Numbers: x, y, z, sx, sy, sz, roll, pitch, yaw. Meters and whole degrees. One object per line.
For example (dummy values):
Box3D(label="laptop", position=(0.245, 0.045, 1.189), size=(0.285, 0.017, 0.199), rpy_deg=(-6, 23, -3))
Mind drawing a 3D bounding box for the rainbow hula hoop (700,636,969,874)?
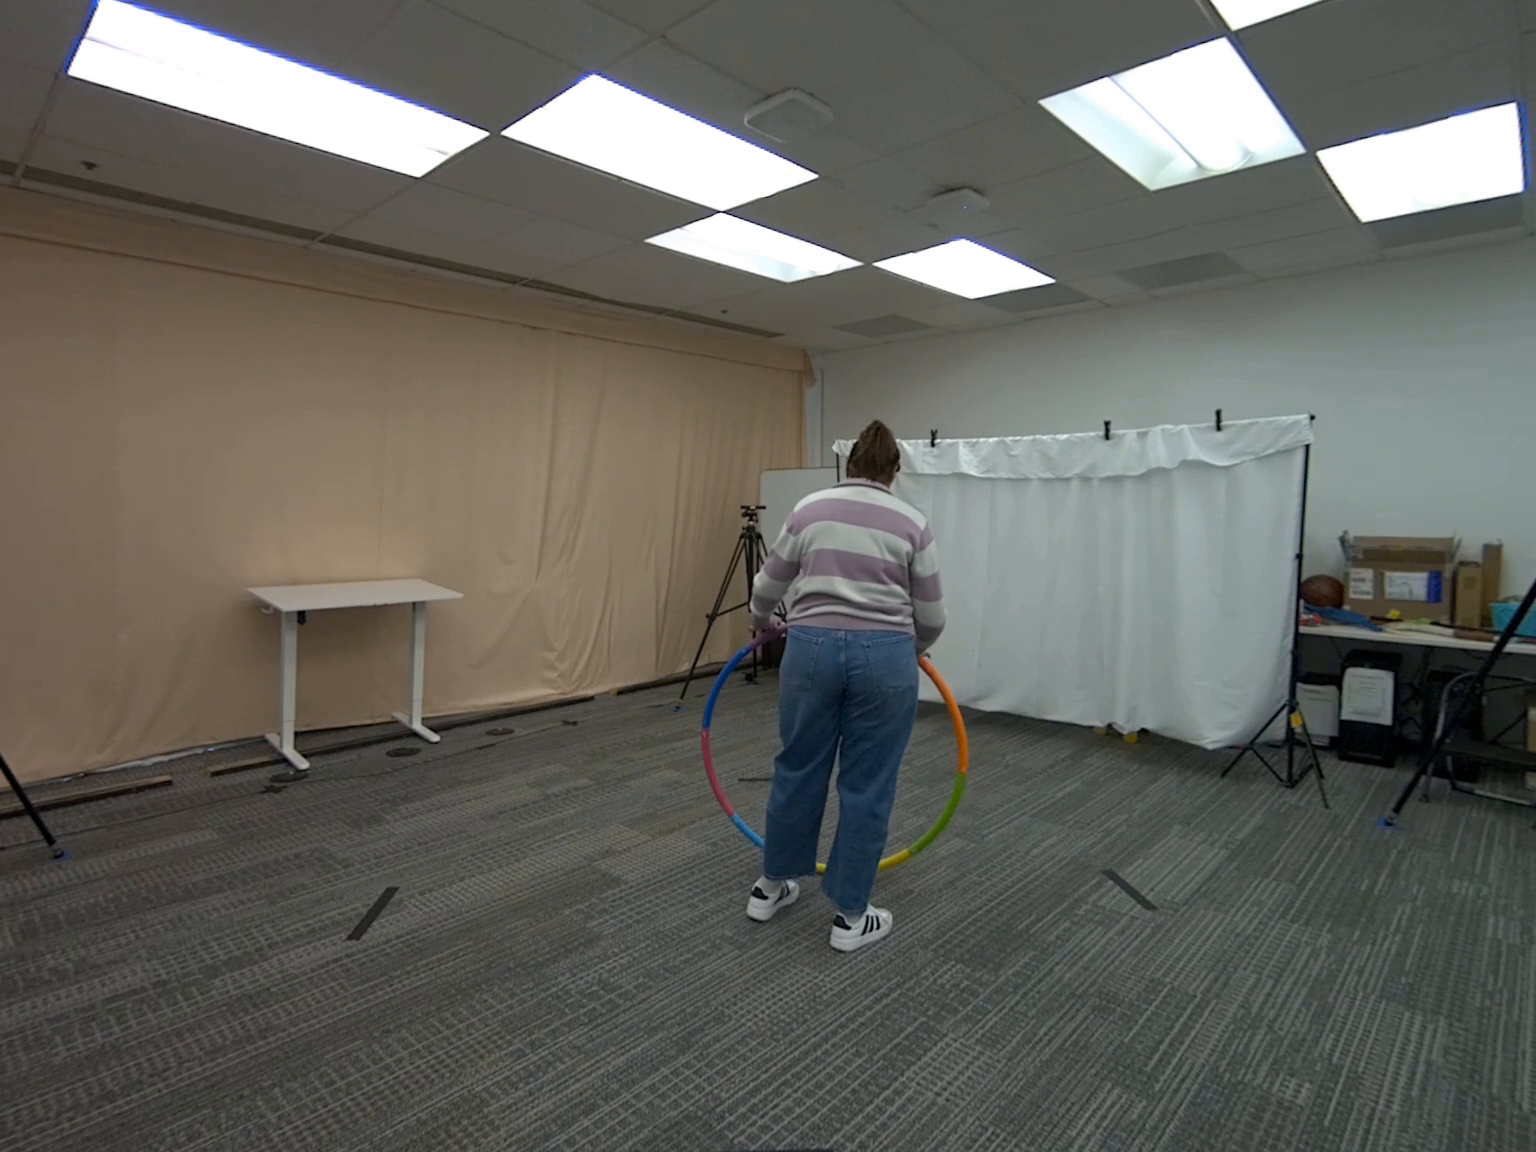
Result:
Box3D(label="rainbow hula hoop", position=(0.225, 0.643, 3.138), size=(1.002, 0.982, 0.051), rpy_deg=(1, 5, 16))
